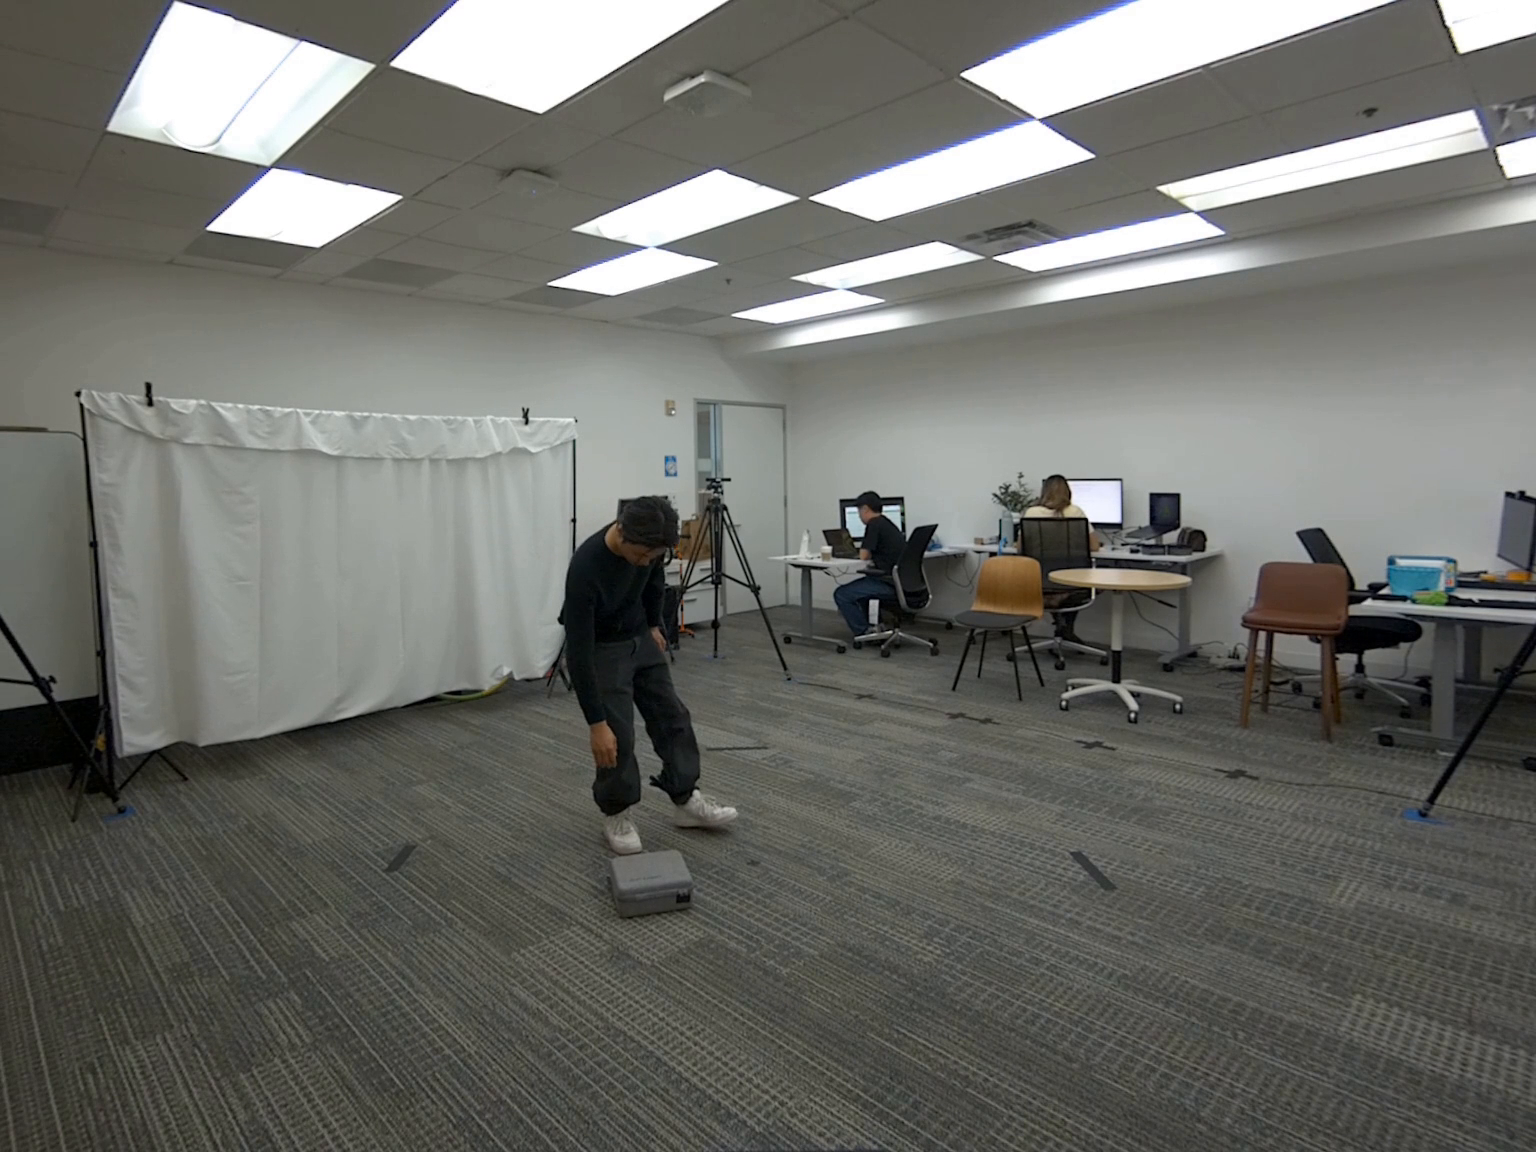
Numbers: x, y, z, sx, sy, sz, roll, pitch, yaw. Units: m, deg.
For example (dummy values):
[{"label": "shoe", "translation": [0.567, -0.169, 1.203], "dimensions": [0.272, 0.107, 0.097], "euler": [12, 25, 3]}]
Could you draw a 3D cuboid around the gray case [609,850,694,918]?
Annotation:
[{"label": "gray case", "translation": [-0.395, 1.024, 2.859], "dimensions": [0.253, 0.104, 0.265], "euler": [-4, 6, -15]}]
